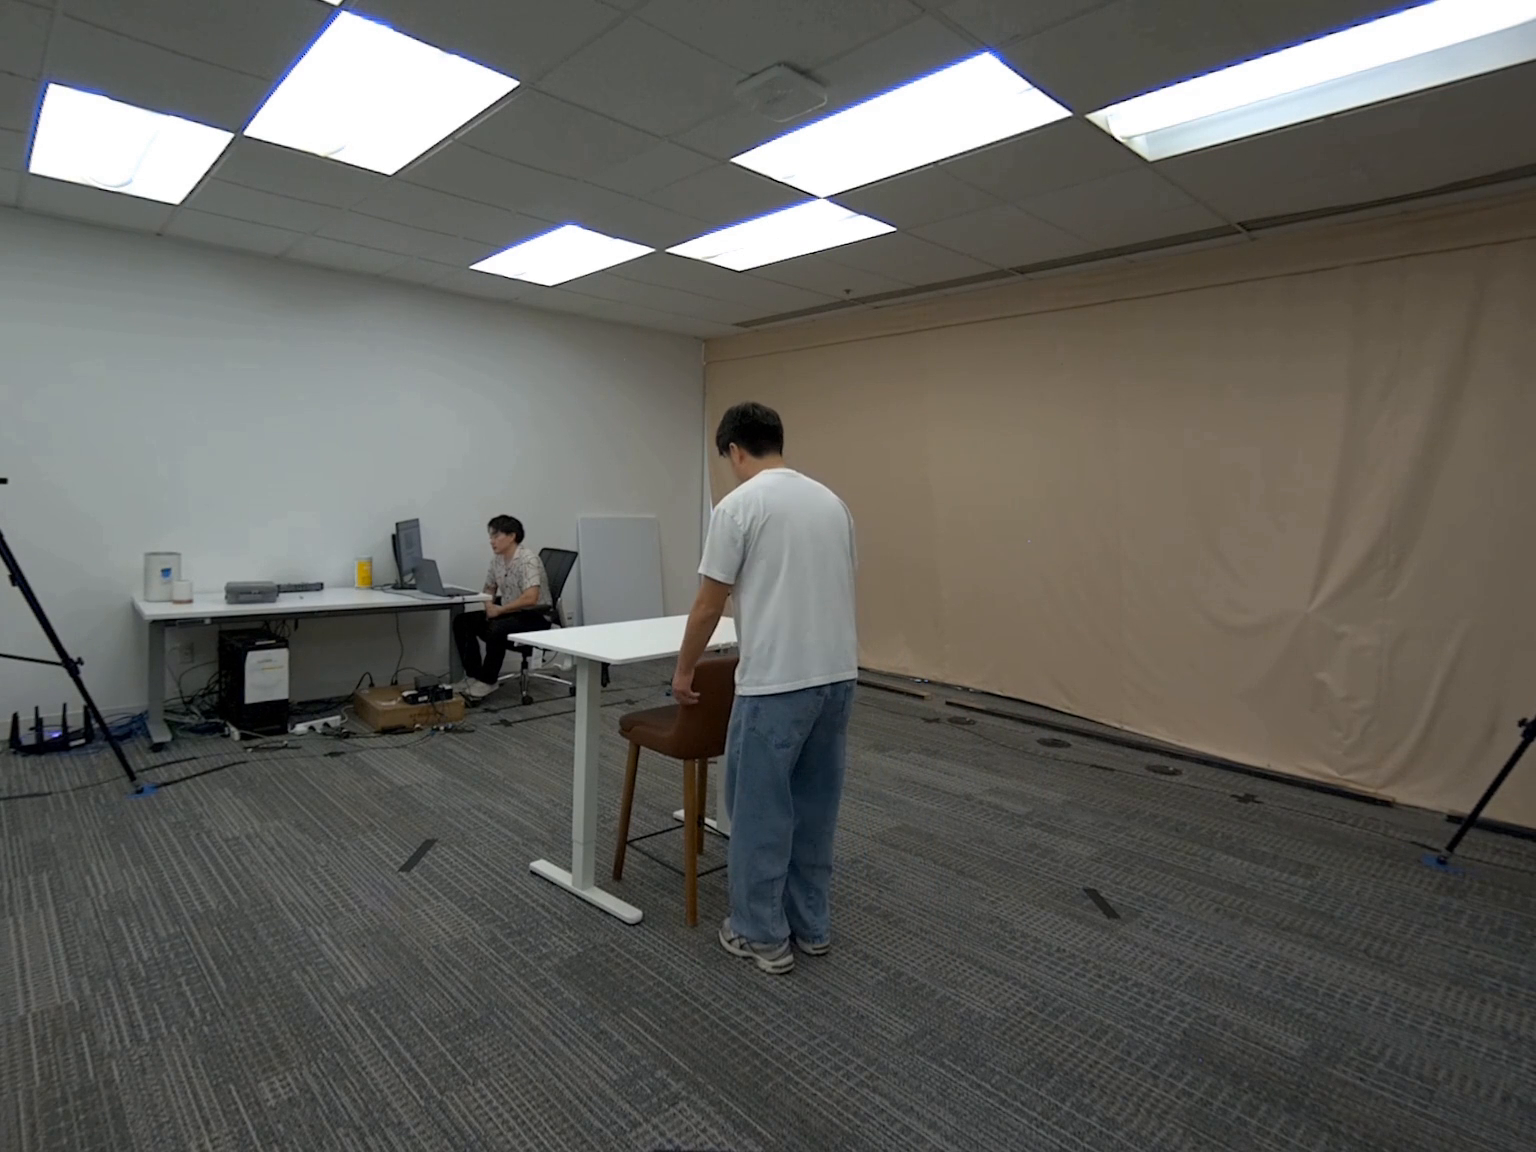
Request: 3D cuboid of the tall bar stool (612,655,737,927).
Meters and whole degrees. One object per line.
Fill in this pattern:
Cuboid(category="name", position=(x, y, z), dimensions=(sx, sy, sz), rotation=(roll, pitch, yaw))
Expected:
Cuboid(category="tall bar stool", position=(-0.250, 0.679, 2.970), dimensions=(0.446, 0.886, 0.480), rotation=(-2, 8, -41))
